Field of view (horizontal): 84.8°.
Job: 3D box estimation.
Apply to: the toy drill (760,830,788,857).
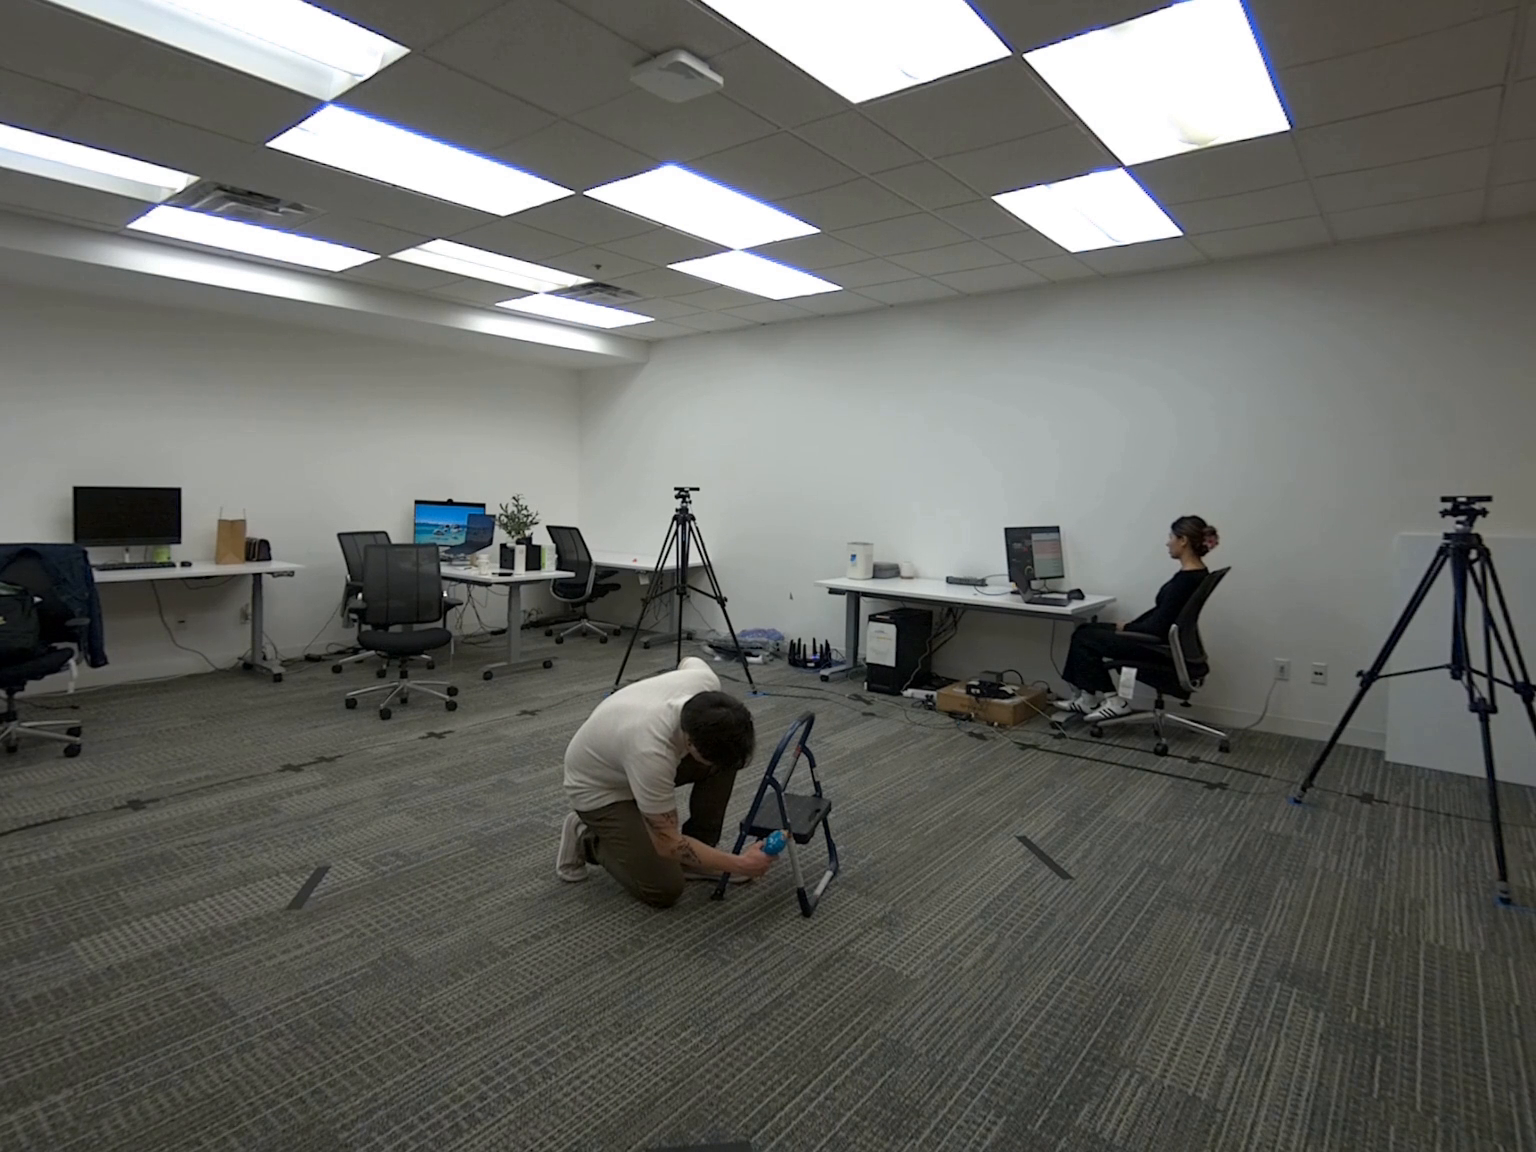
[{"bbox_3d":[-0.008,0.861,2.701,0.147,0.062,0.166,-33,-8,20],"label":"toy drill"}]
